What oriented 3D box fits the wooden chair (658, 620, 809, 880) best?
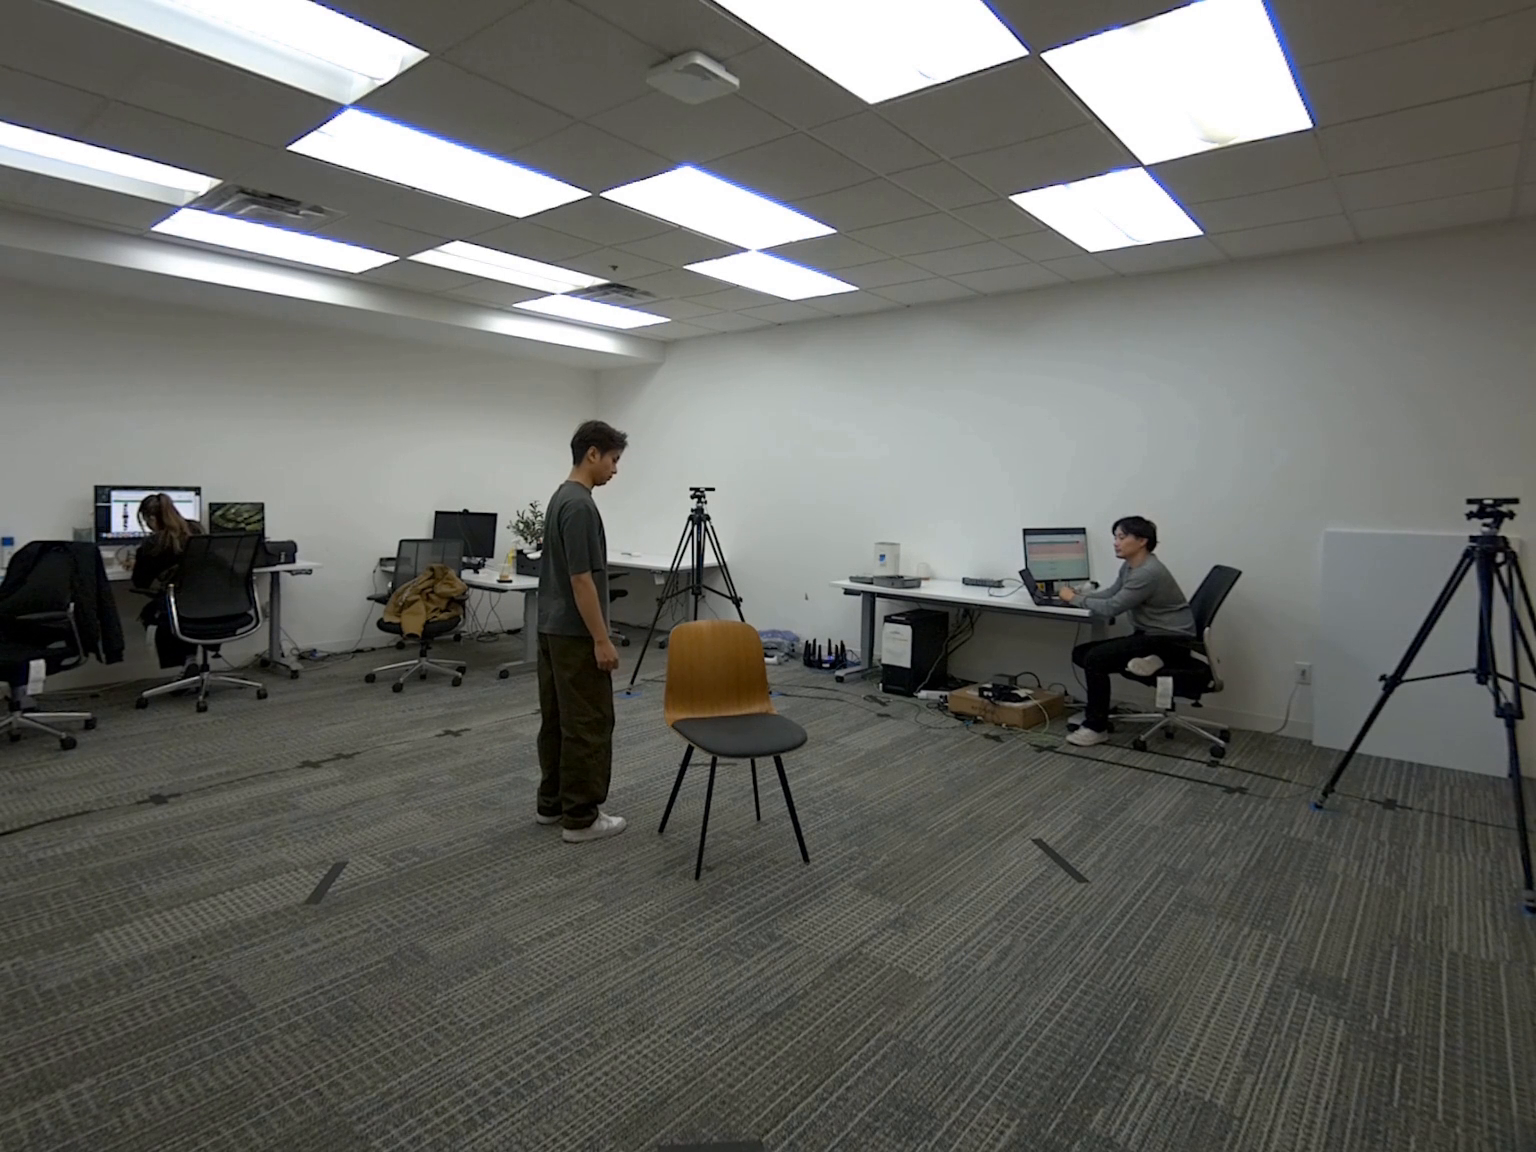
[{"bbox_3d":[-0.141,0.625,3.266,0.467,0.879,0.534,1,-1,-23],"label":"wooden chair"}]
